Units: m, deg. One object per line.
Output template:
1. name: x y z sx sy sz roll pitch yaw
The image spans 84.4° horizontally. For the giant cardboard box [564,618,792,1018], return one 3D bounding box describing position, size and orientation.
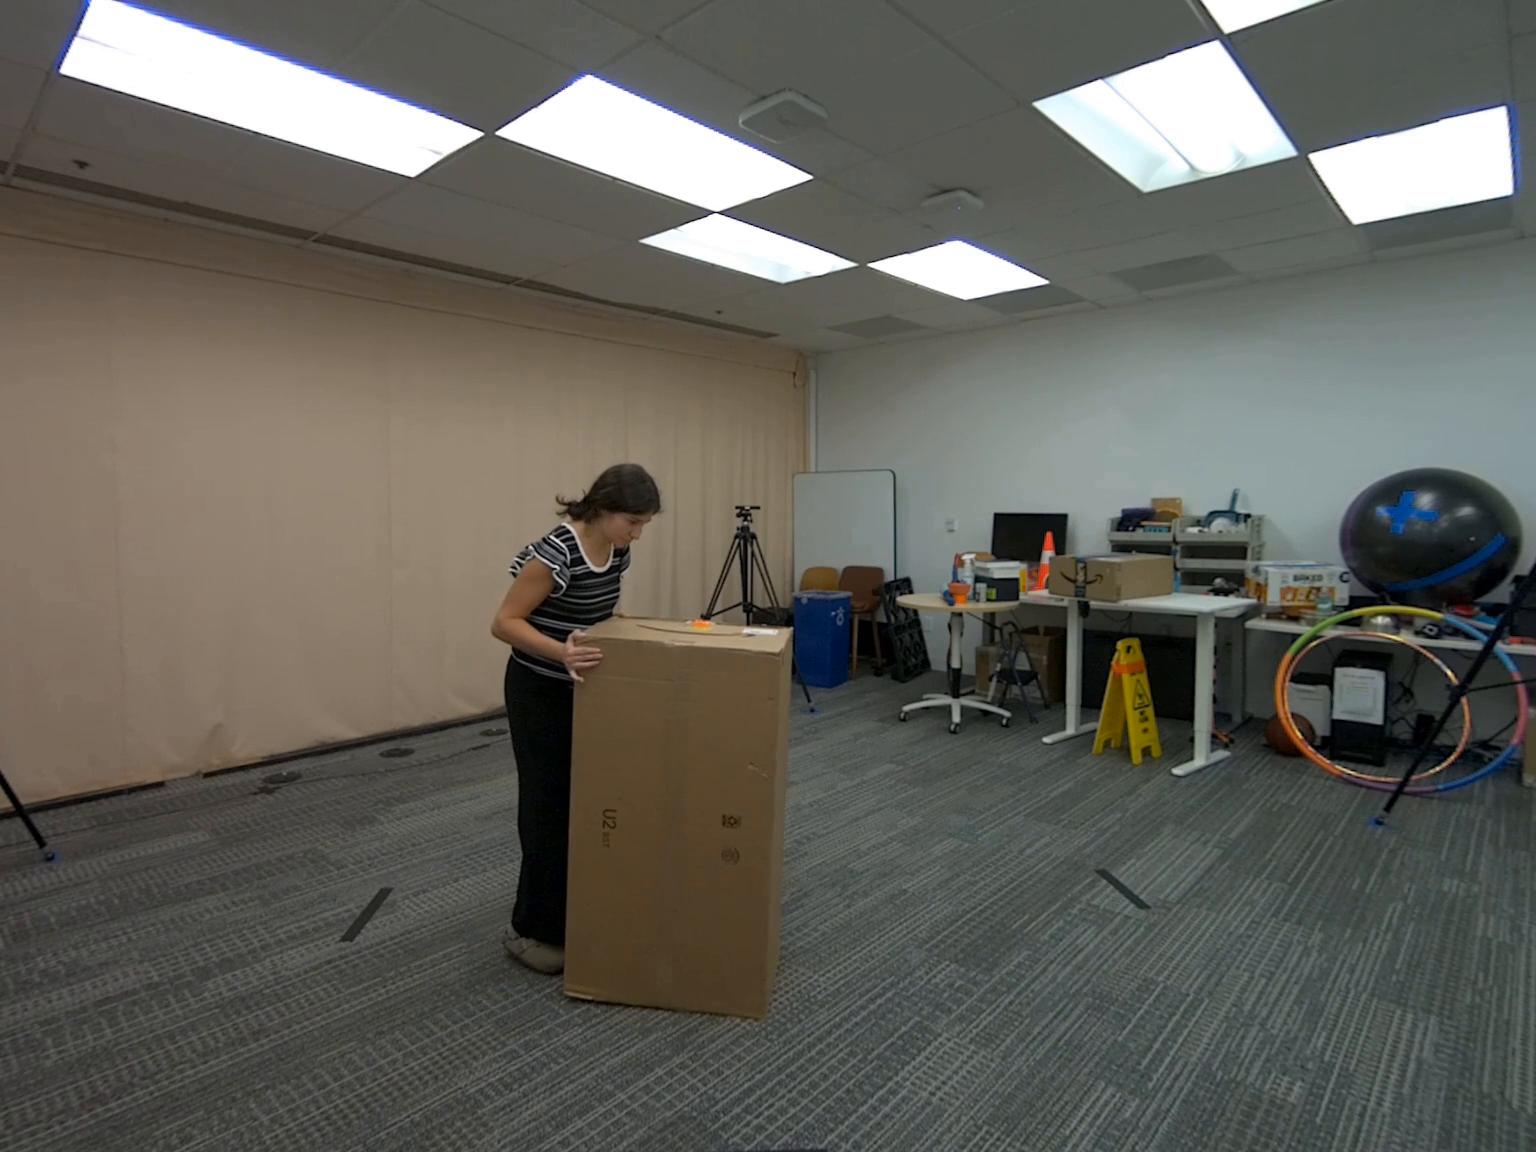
1. giant cardboard box: -0.239 0.675 2.494 0.583 1.023 0.423 3 4 8
